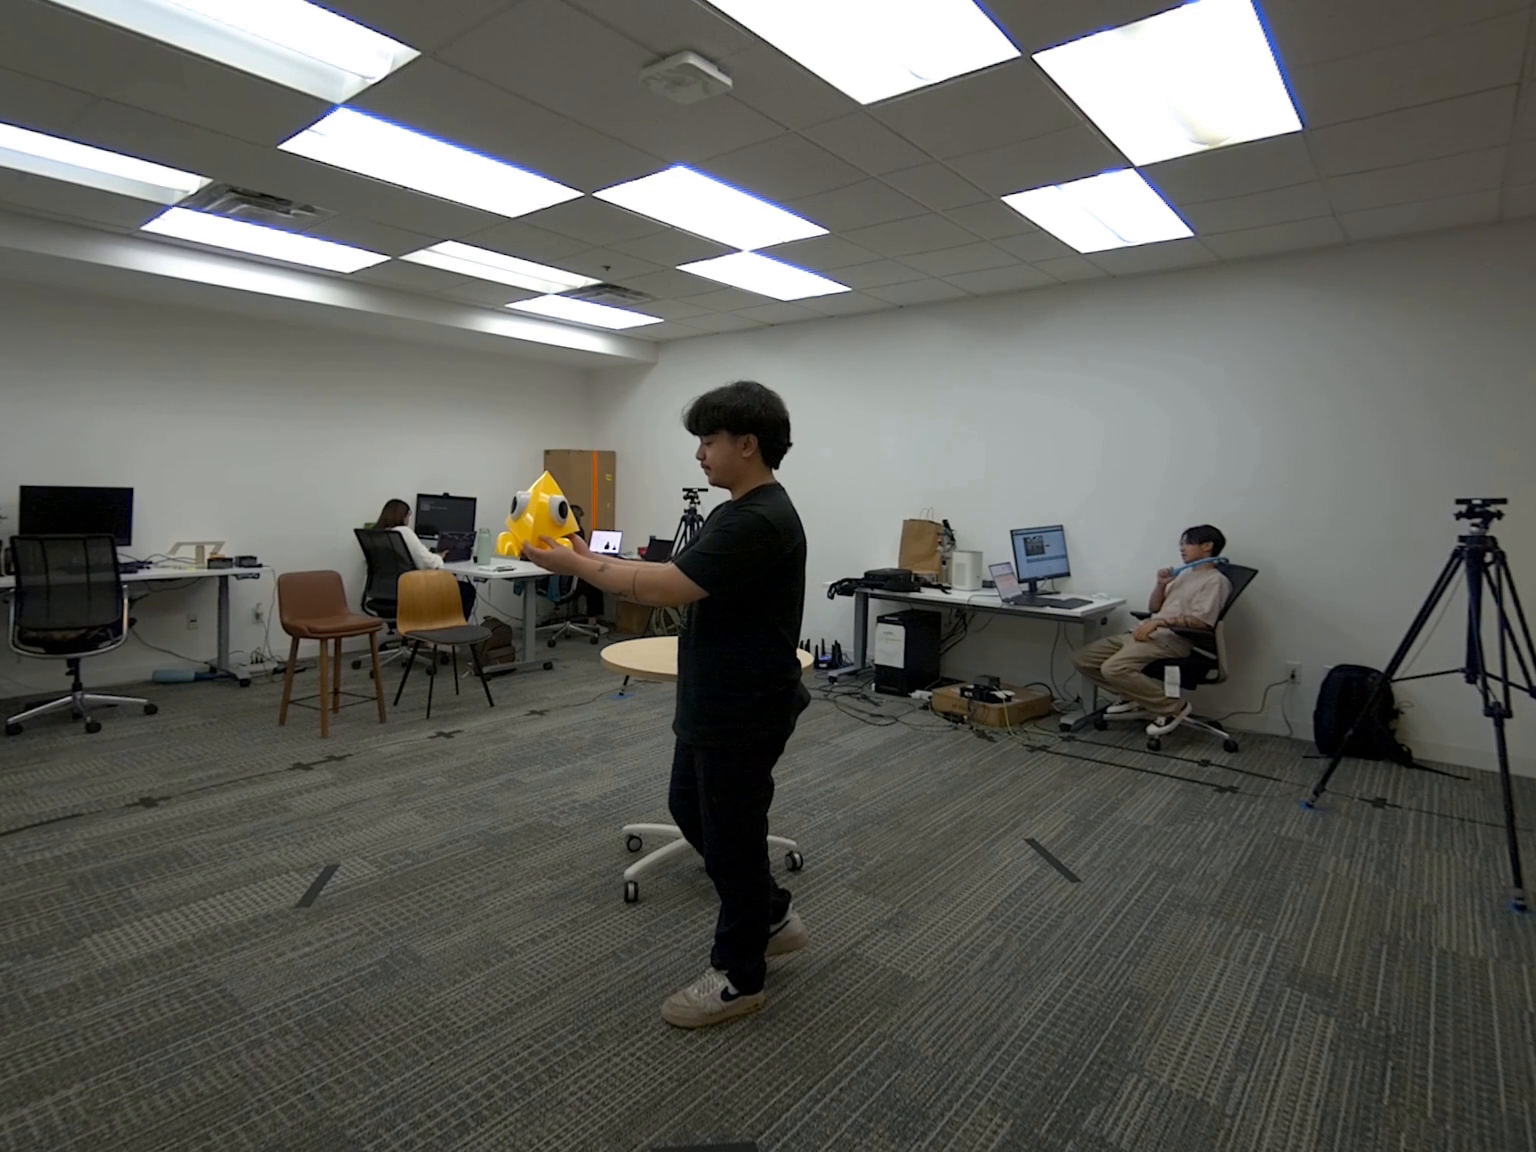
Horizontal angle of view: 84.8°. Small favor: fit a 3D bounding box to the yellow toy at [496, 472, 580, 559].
[{"bbox_3d":[-0.611,-0.166,2.250,0.203,0.230,0.195,5,2,-7],"label":"yellow toy"}]
